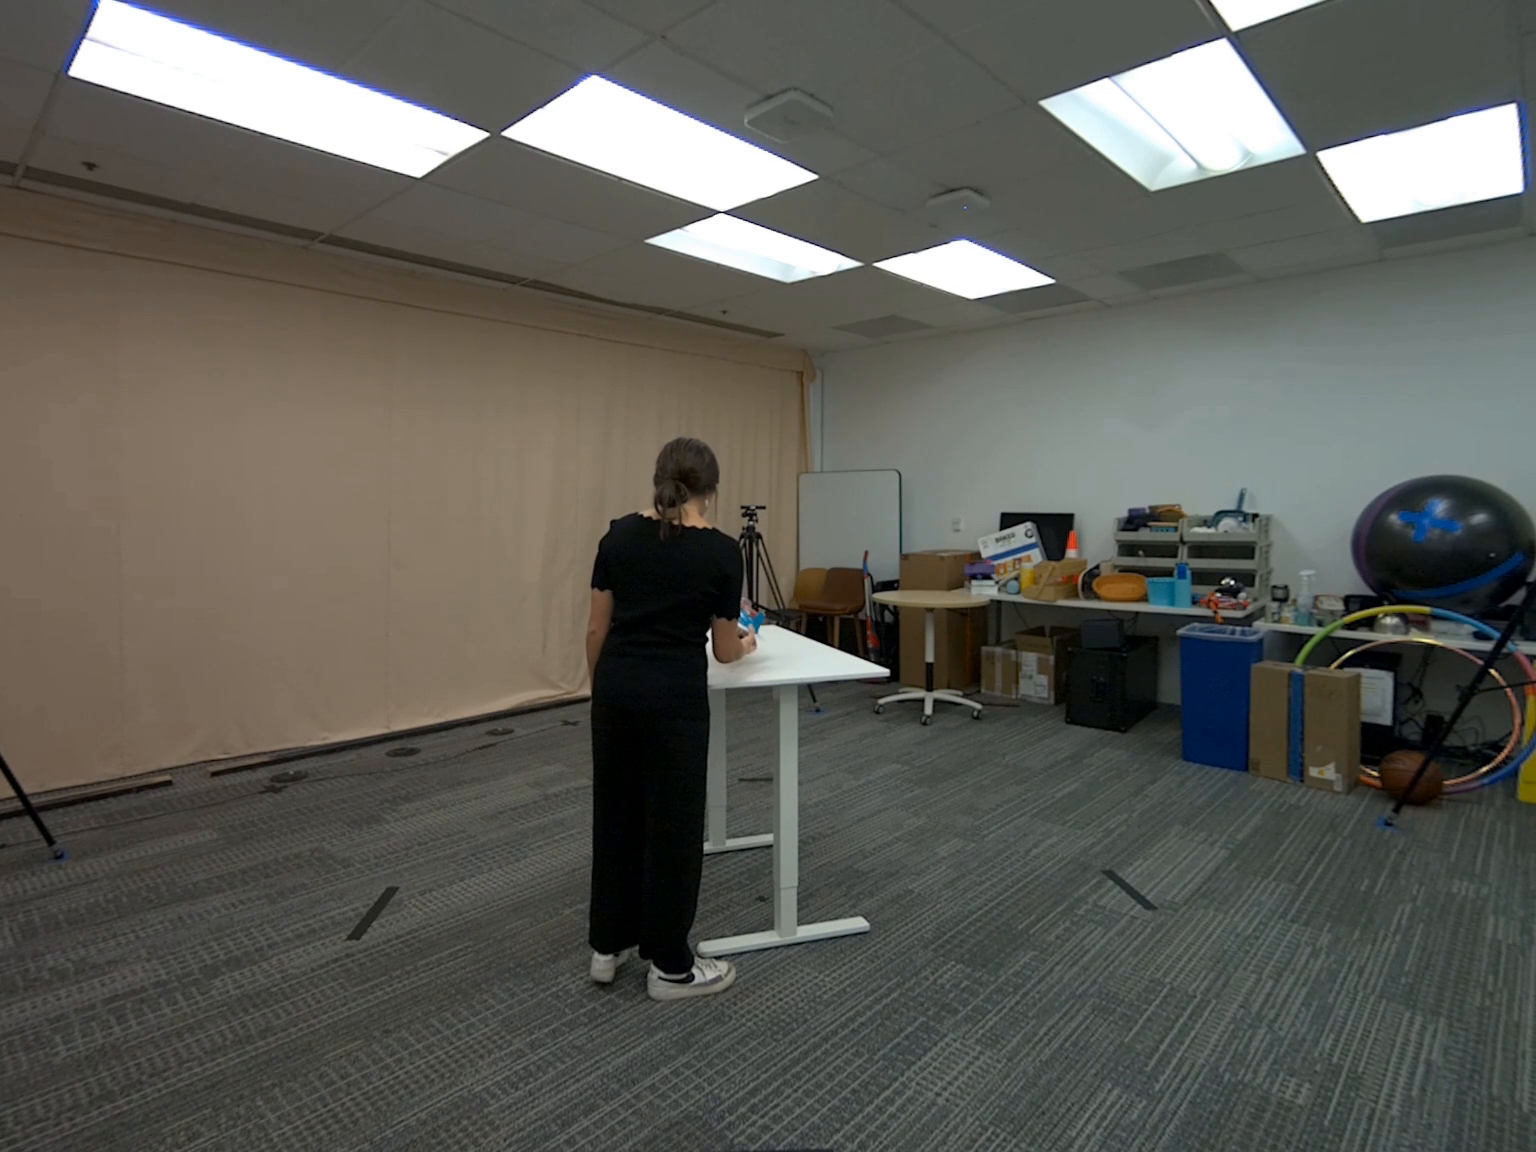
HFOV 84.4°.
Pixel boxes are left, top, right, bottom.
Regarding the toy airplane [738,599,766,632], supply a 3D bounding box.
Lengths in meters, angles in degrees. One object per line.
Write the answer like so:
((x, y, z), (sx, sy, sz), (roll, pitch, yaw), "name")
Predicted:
((-0.105, 0.150, 2.781), (0.266, 0.156, 0.244), (19, -11, 23), "toy airplane")
